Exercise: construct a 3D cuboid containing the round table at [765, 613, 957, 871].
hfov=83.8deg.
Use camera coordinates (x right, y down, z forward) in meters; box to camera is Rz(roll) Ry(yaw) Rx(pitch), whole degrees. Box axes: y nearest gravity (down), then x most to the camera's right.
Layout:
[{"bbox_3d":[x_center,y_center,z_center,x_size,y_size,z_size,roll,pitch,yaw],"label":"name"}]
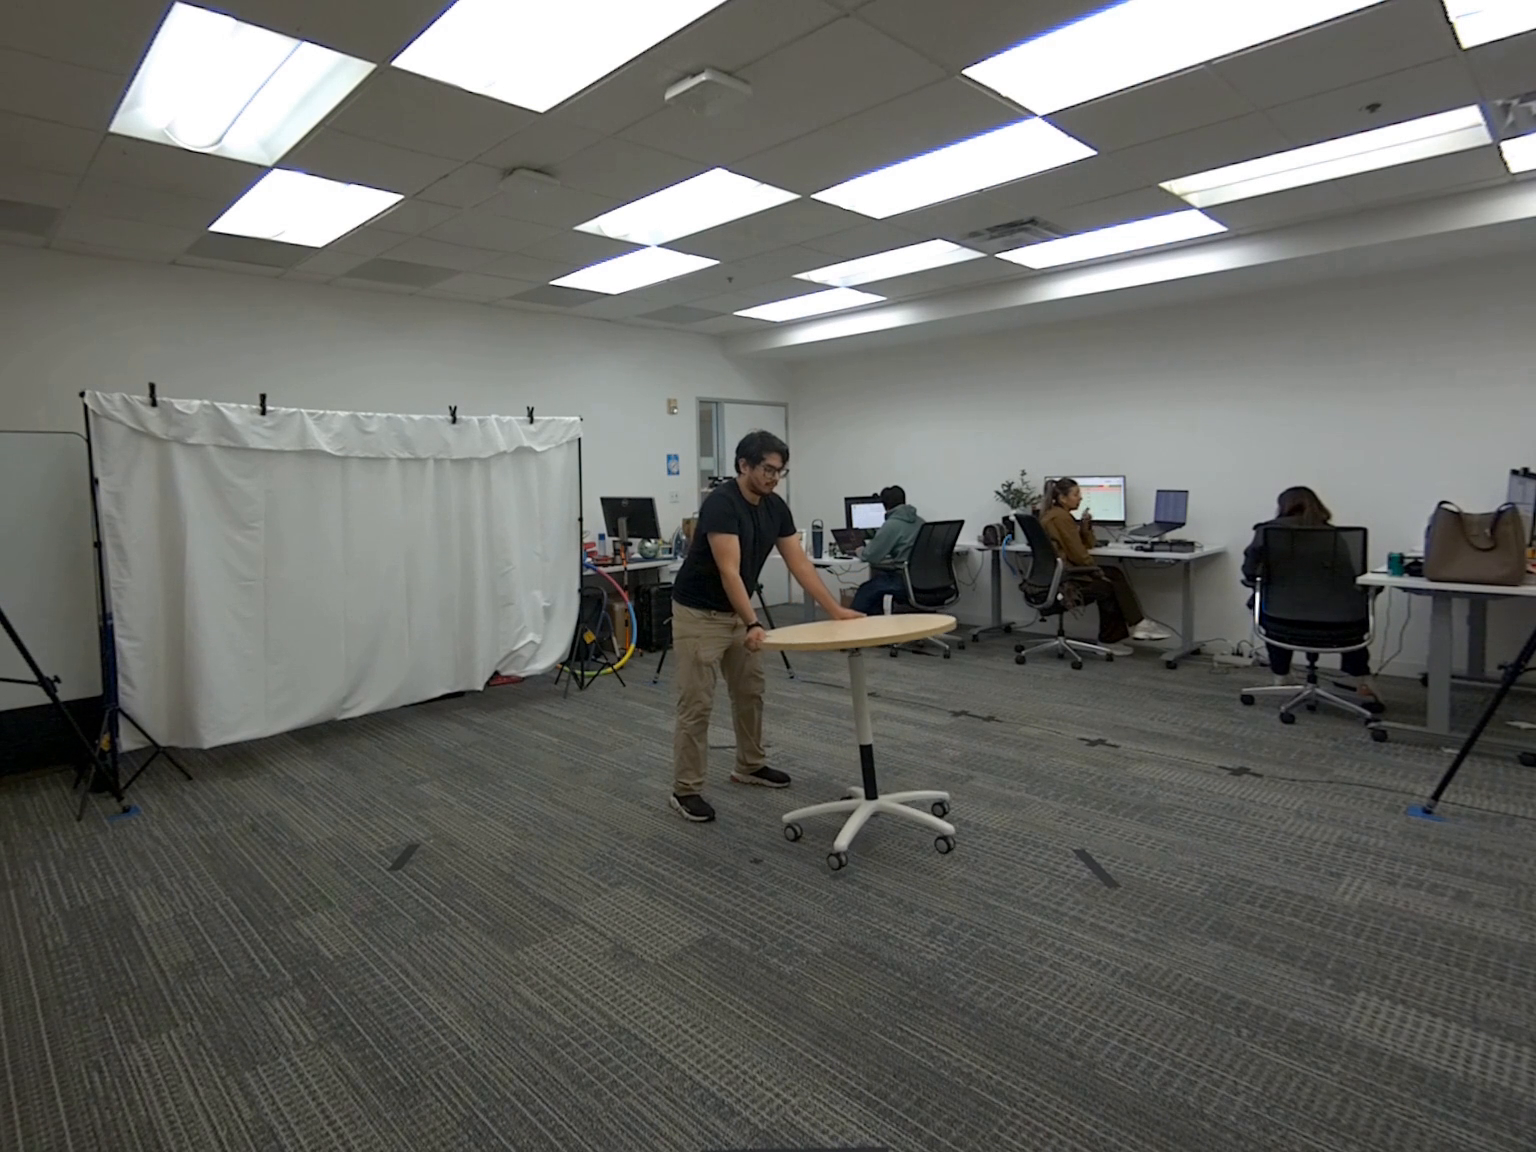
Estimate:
[{"bbox_3d":[0.348,0.592,3.244,0.784,0.786,0.786,-6,1,-2],"label":"round table"}]
